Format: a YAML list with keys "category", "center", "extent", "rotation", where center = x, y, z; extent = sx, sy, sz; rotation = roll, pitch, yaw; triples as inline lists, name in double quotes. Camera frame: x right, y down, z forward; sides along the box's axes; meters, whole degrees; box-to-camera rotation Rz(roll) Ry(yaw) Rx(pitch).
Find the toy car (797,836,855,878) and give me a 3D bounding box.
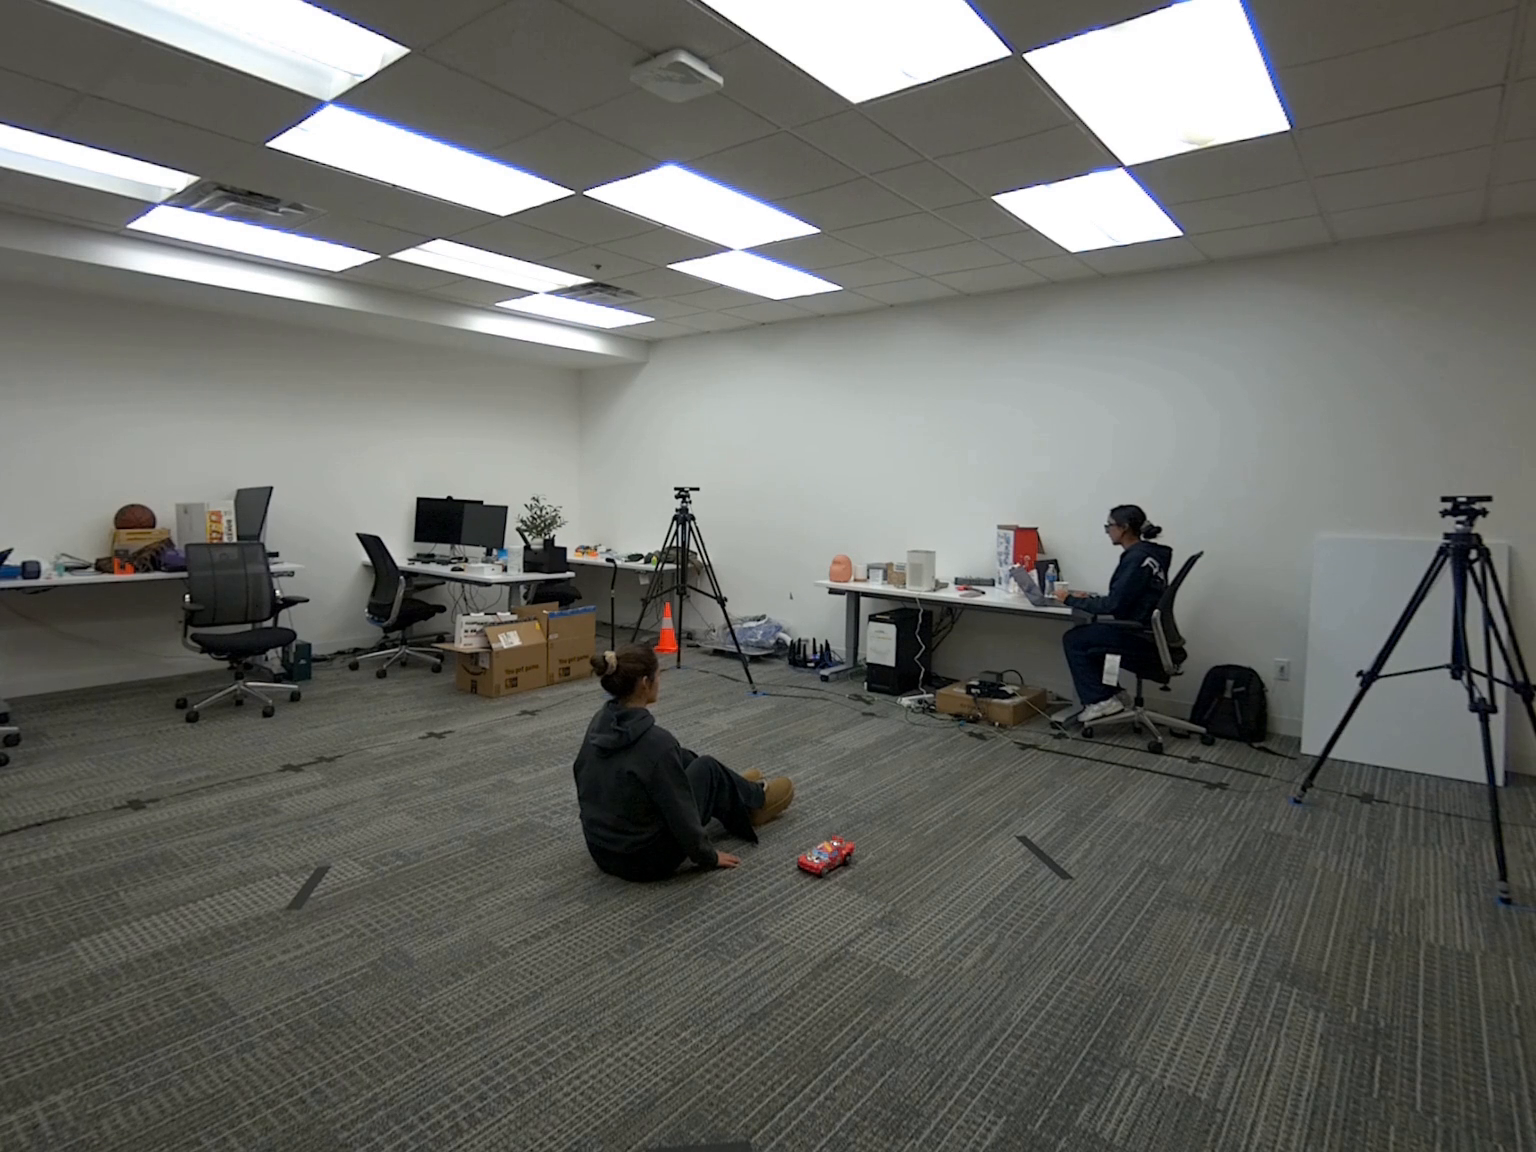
- category: "toy car"
  center: [0.228, 1.040, 3.157]
  extent: [0.135, 0.082, 0.249]
  rotation: [6, 18, 41]
